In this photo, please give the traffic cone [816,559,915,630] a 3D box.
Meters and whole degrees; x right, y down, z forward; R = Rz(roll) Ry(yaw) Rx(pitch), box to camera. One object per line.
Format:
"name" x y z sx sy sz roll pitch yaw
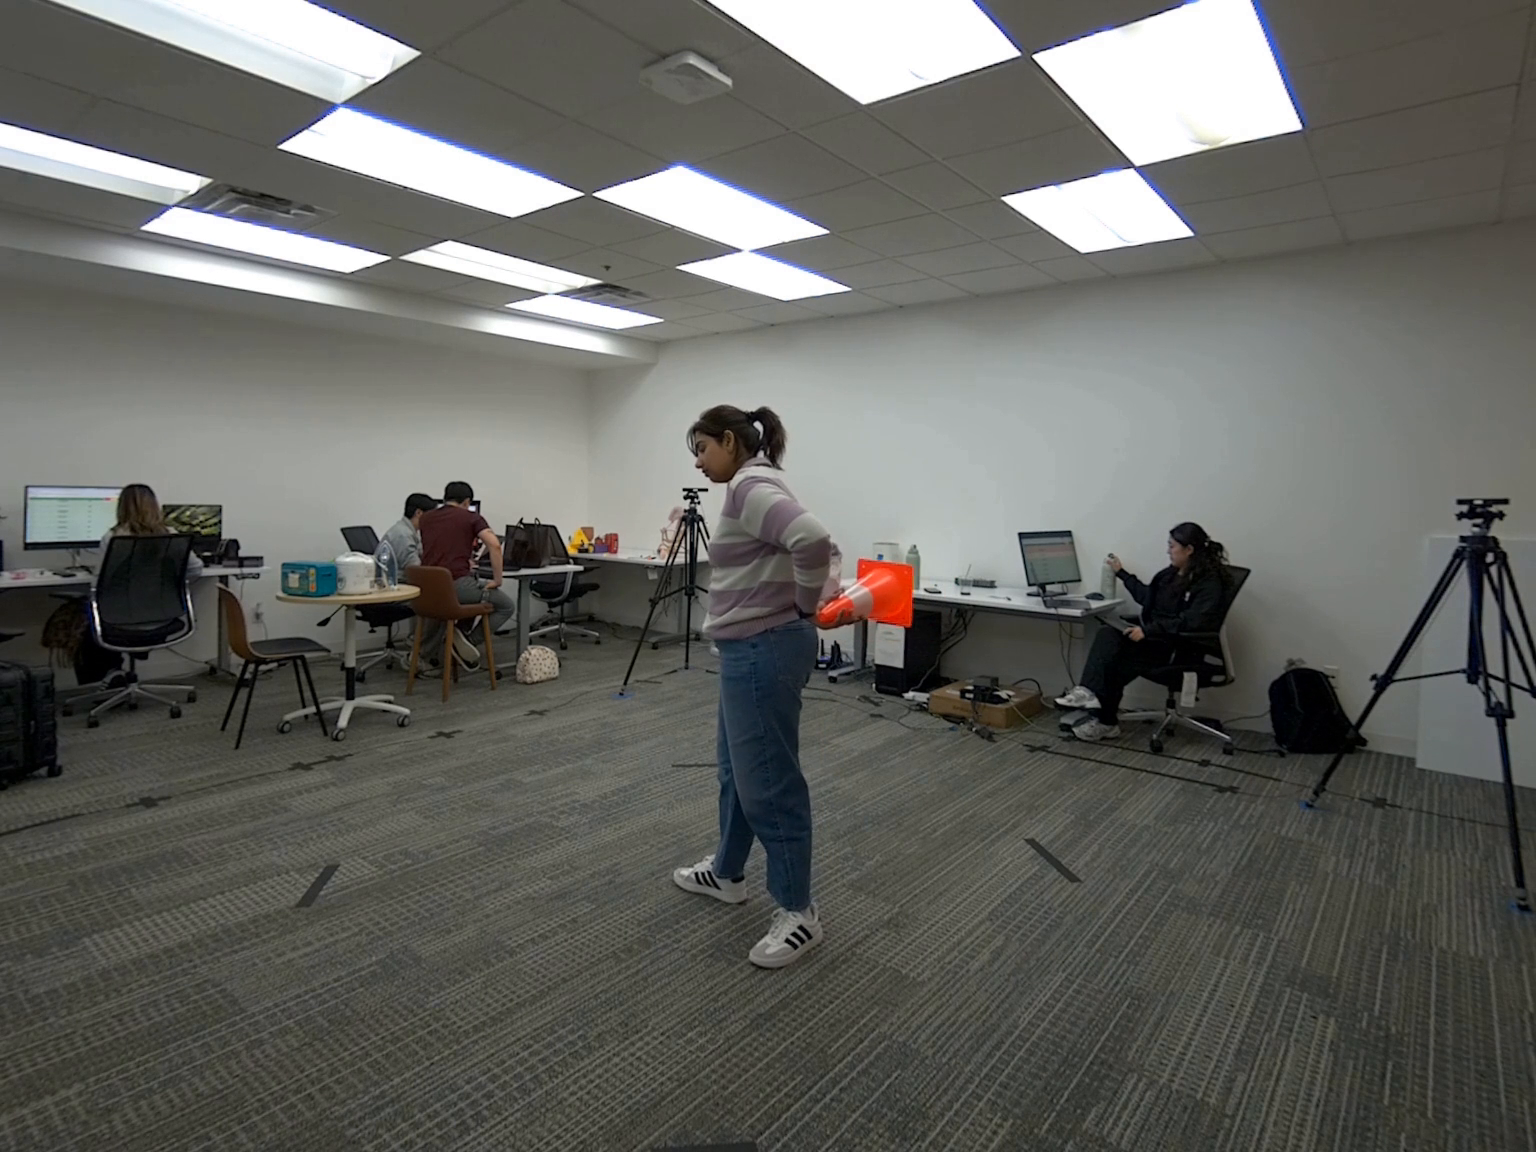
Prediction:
"traffic cone" 0.252 0.084 2.567 0.210 0.203 0.374 8 13 36
